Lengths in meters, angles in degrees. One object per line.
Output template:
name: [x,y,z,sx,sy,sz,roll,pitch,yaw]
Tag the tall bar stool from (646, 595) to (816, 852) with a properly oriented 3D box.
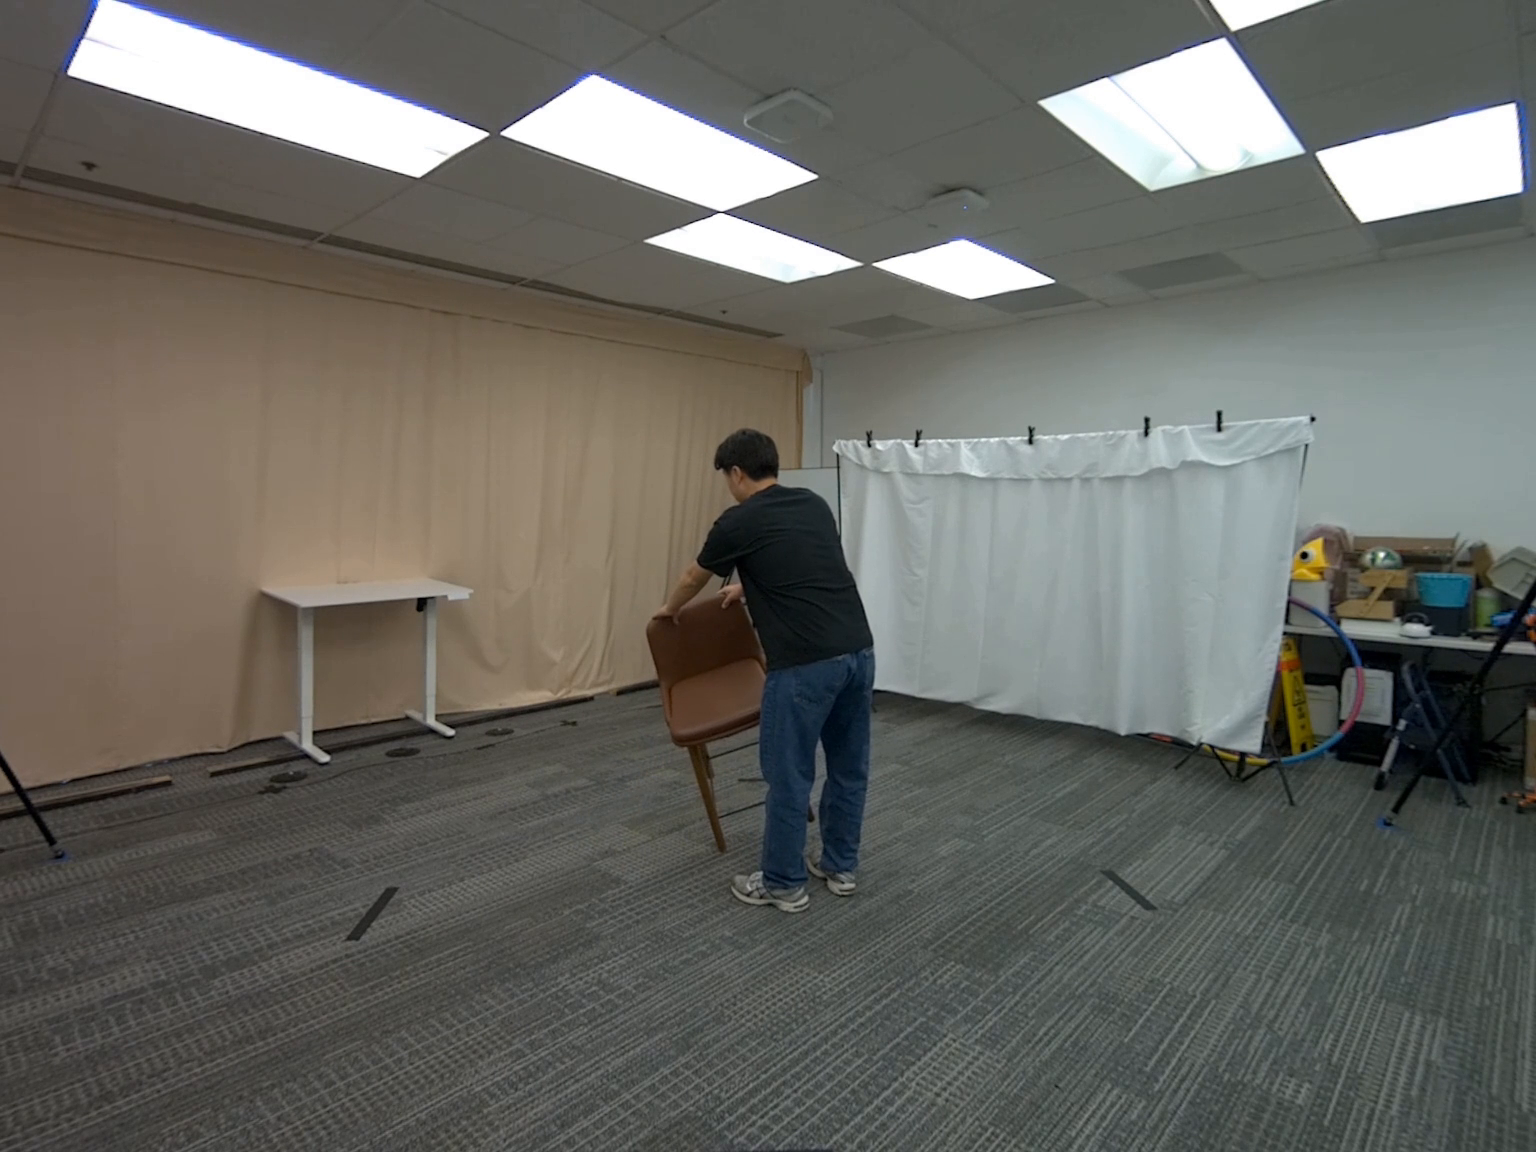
tall bar stool: [-0.156,0.584,3.396,0.456,0.871,0.478,-18,26,-1]
